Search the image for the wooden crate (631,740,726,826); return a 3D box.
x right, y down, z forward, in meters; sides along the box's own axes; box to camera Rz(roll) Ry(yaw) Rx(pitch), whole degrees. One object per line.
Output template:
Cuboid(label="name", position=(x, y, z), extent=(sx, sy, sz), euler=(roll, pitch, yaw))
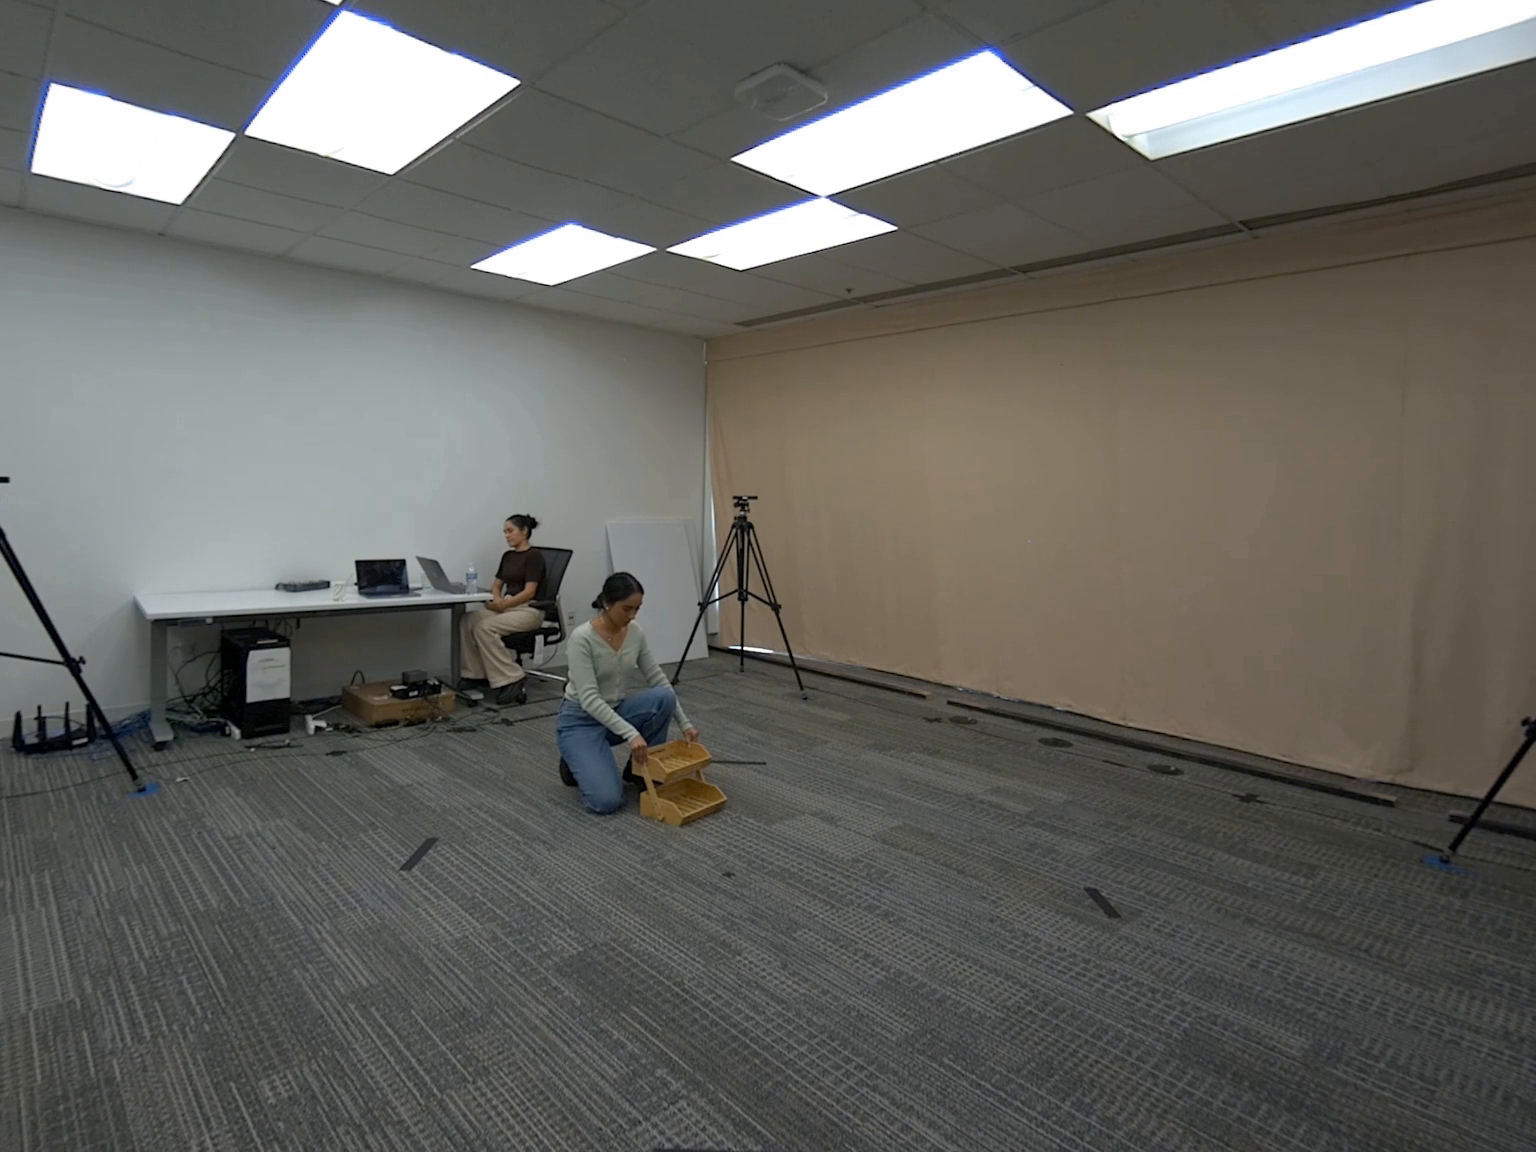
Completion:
Cuboid(label="wooden crate", position=(-0.394, 0.904, 3.737), extent=(0.309, 0.273, 0.317), euler=(4, 4, 37))
